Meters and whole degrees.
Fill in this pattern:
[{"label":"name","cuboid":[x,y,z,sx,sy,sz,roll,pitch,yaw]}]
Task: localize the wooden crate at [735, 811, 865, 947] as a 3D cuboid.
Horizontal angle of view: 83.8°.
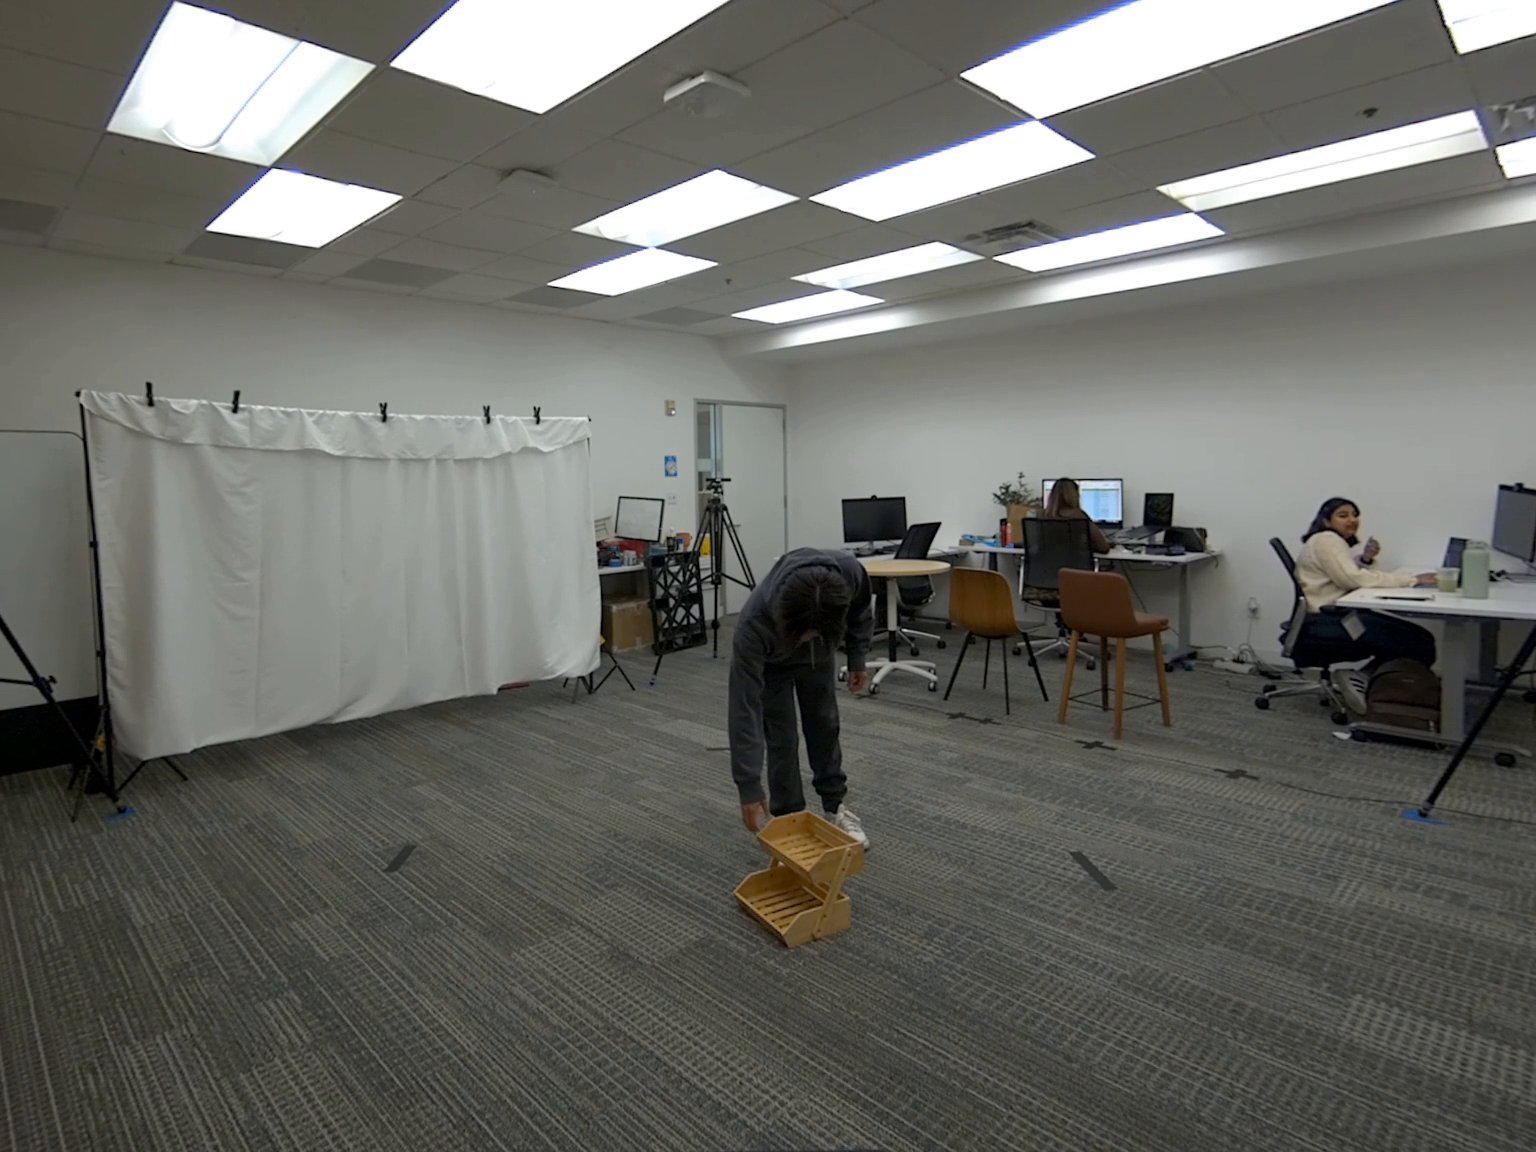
[{"label":"wooden crate","cuboid":[0.091,0.953,2.727,0.295,0.272,0.334,-3,6,-31]}]
